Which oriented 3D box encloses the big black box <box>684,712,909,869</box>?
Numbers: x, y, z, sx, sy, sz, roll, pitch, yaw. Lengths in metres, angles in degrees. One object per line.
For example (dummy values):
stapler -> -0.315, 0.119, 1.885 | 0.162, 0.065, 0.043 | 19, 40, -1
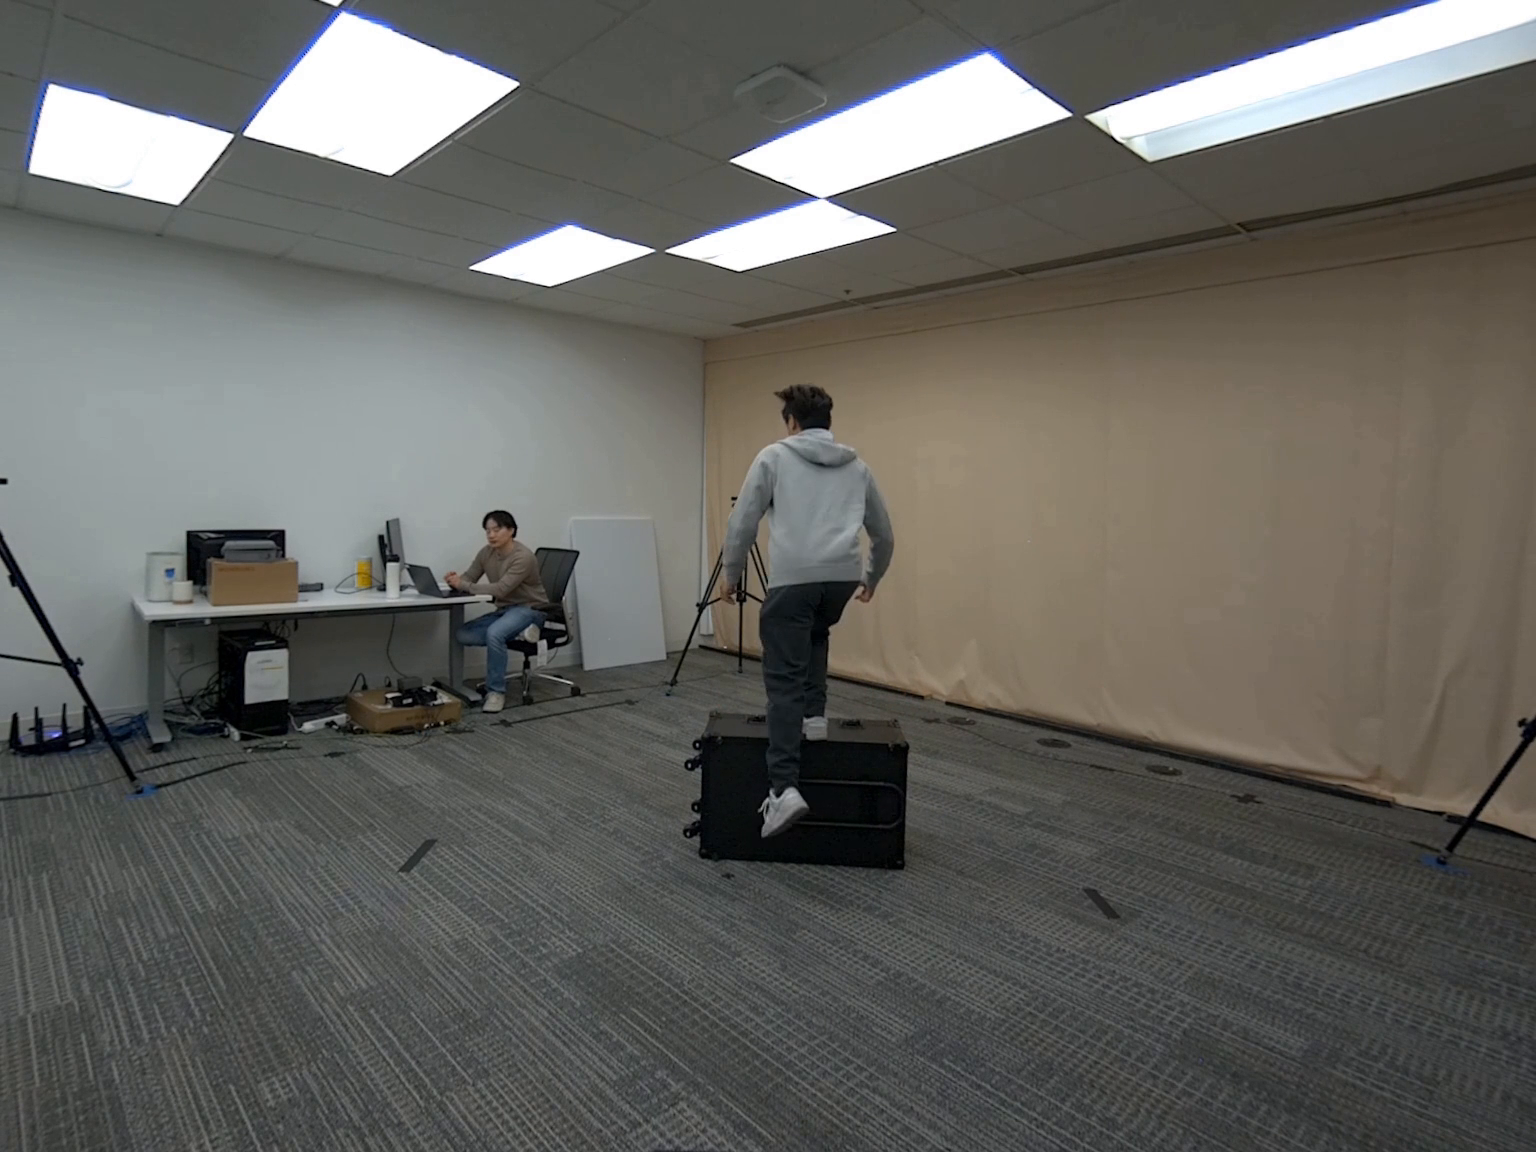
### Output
big black box -> 0.099, 0.848, 3.370 | 0.865, 0.520, 0.396 | 2, 4, 4
